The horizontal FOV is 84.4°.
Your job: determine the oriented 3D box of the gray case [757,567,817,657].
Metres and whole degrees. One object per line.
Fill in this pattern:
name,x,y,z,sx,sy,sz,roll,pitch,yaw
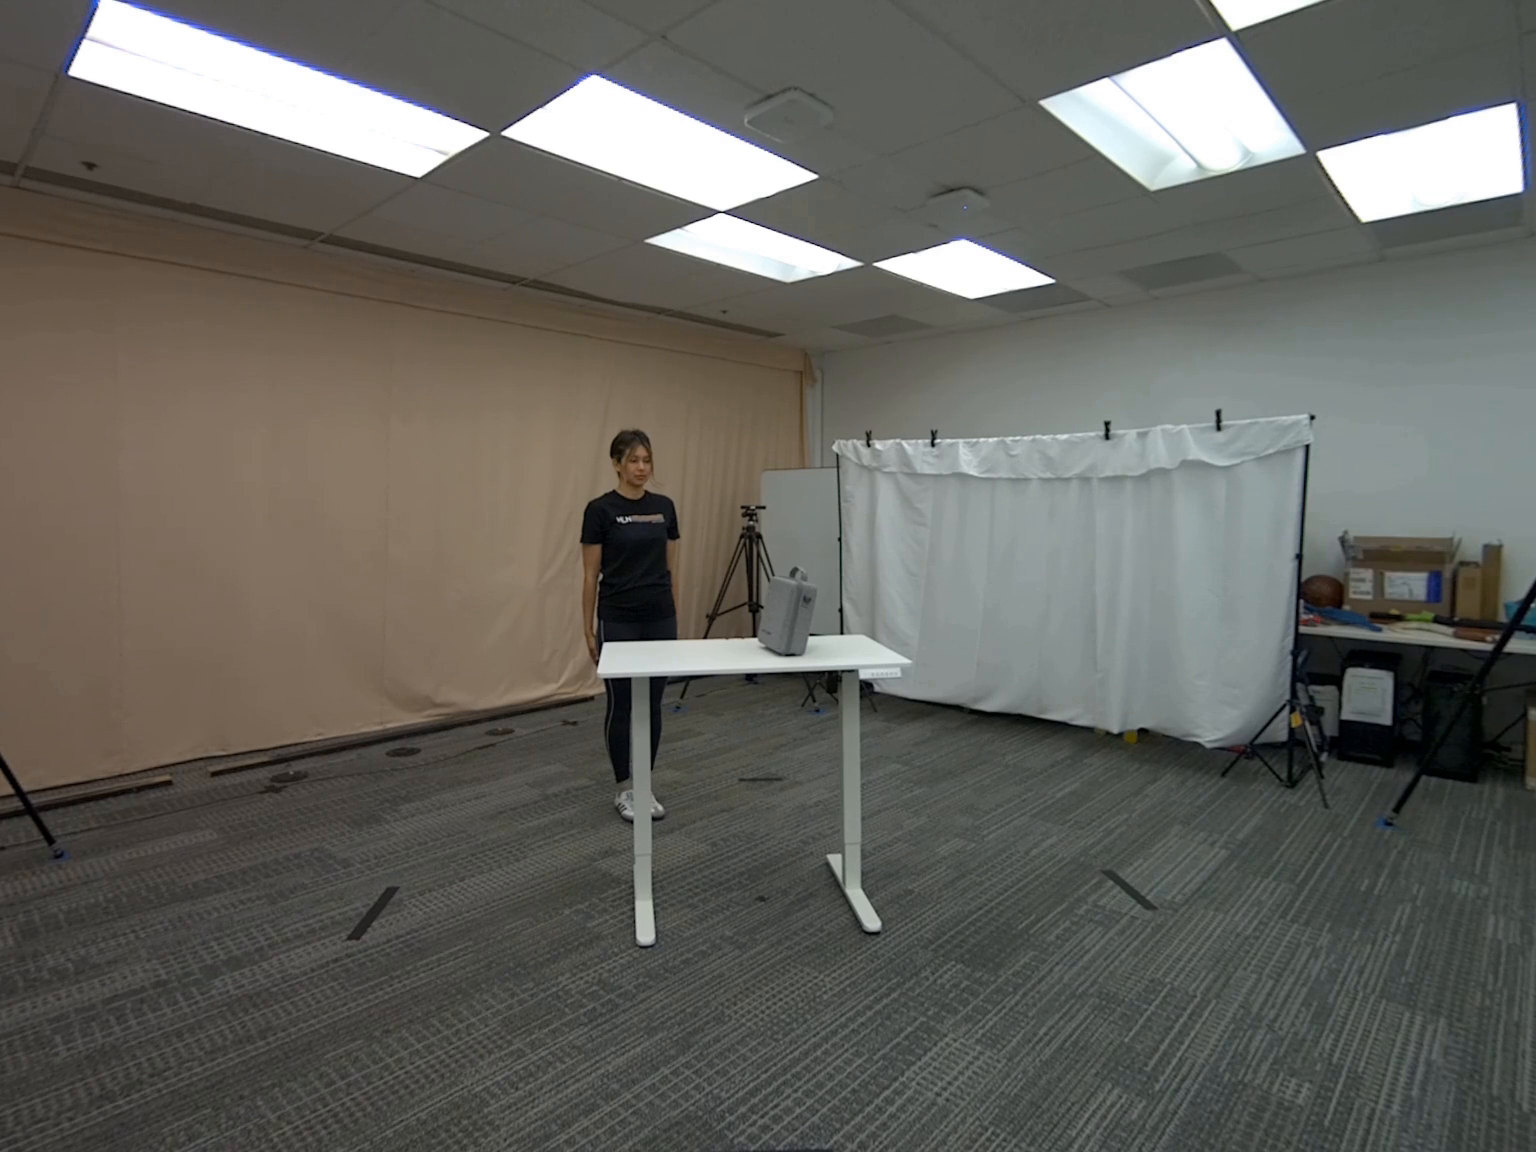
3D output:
gray case,0.069,0.133,2.939,0.102,0.260,0.262,9,2,-18
